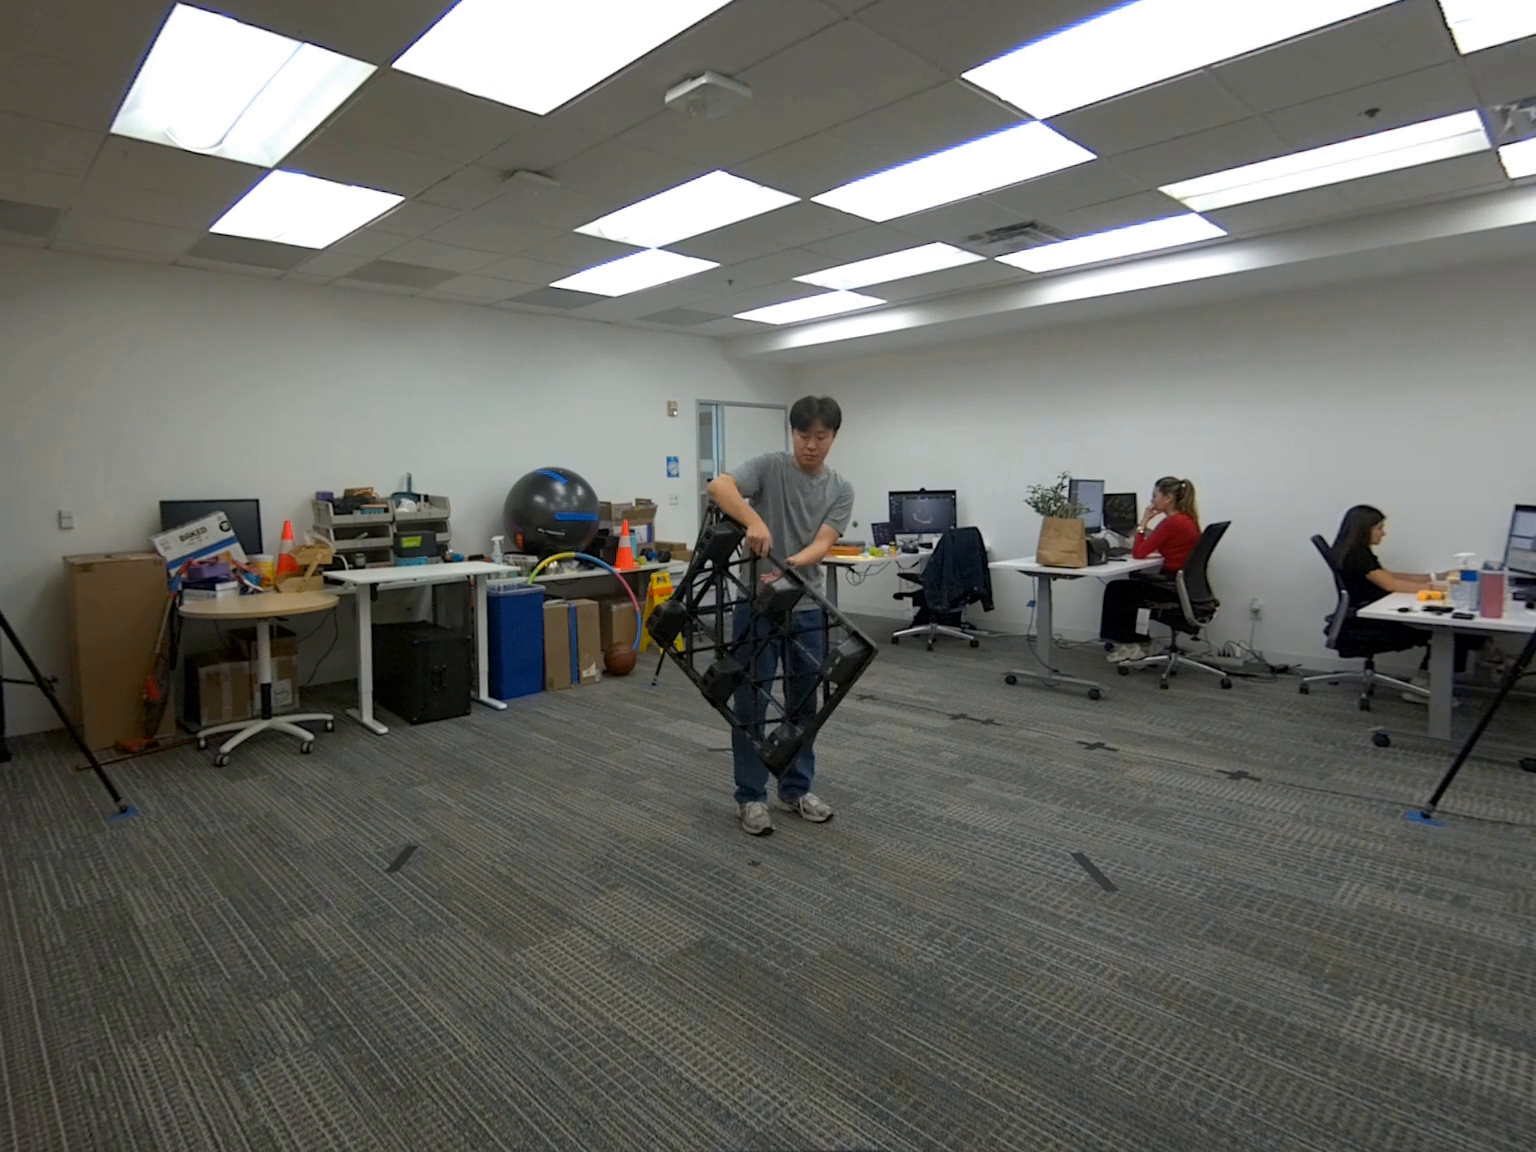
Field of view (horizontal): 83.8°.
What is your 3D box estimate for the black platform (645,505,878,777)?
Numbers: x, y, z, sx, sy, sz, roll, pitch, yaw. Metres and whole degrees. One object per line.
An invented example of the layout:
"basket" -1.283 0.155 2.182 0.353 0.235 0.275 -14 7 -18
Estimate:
"black platform" -0.063 0.220 3.087 0.834 0.603 0.139 44 19 30
